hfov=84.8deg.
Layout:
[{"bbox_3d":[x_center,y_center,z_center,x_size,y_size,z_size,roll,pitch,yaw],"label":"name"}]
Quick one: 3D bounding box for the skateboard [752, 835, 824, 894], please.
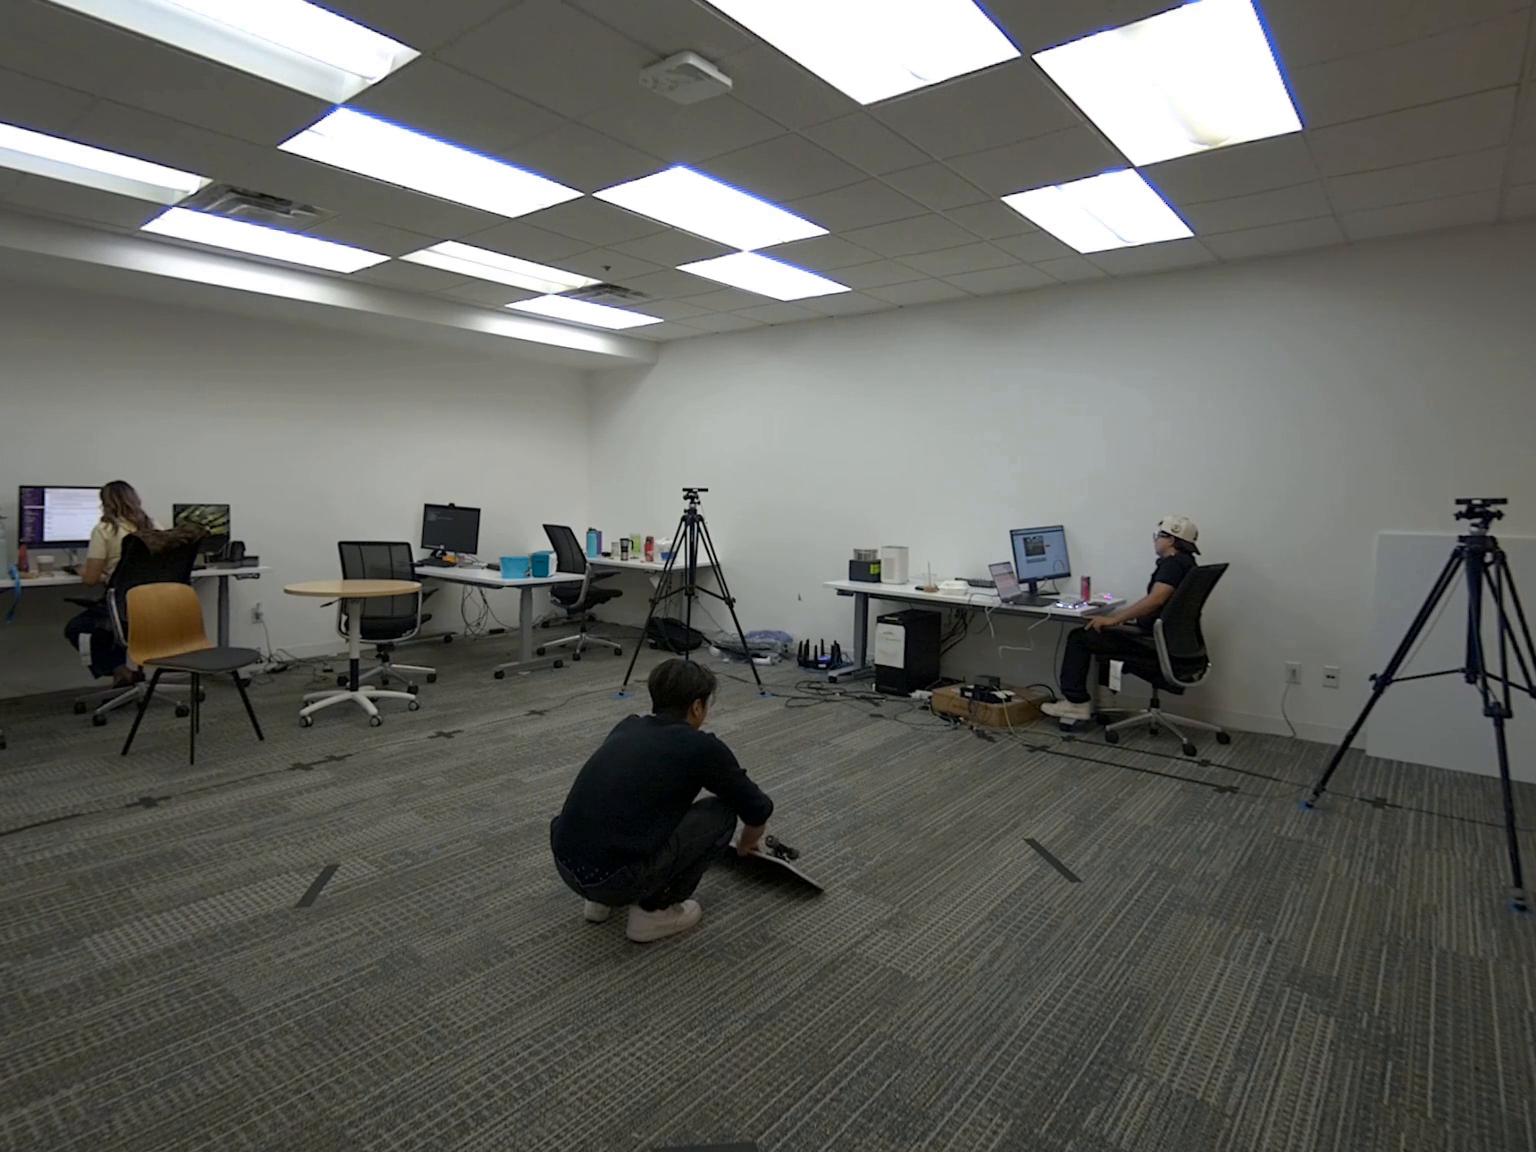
[{"bbox_3d":[-0.131,0.983,3.175,0.812,0.111,0.185,6,-27,39],"label":"skateboard"}]
